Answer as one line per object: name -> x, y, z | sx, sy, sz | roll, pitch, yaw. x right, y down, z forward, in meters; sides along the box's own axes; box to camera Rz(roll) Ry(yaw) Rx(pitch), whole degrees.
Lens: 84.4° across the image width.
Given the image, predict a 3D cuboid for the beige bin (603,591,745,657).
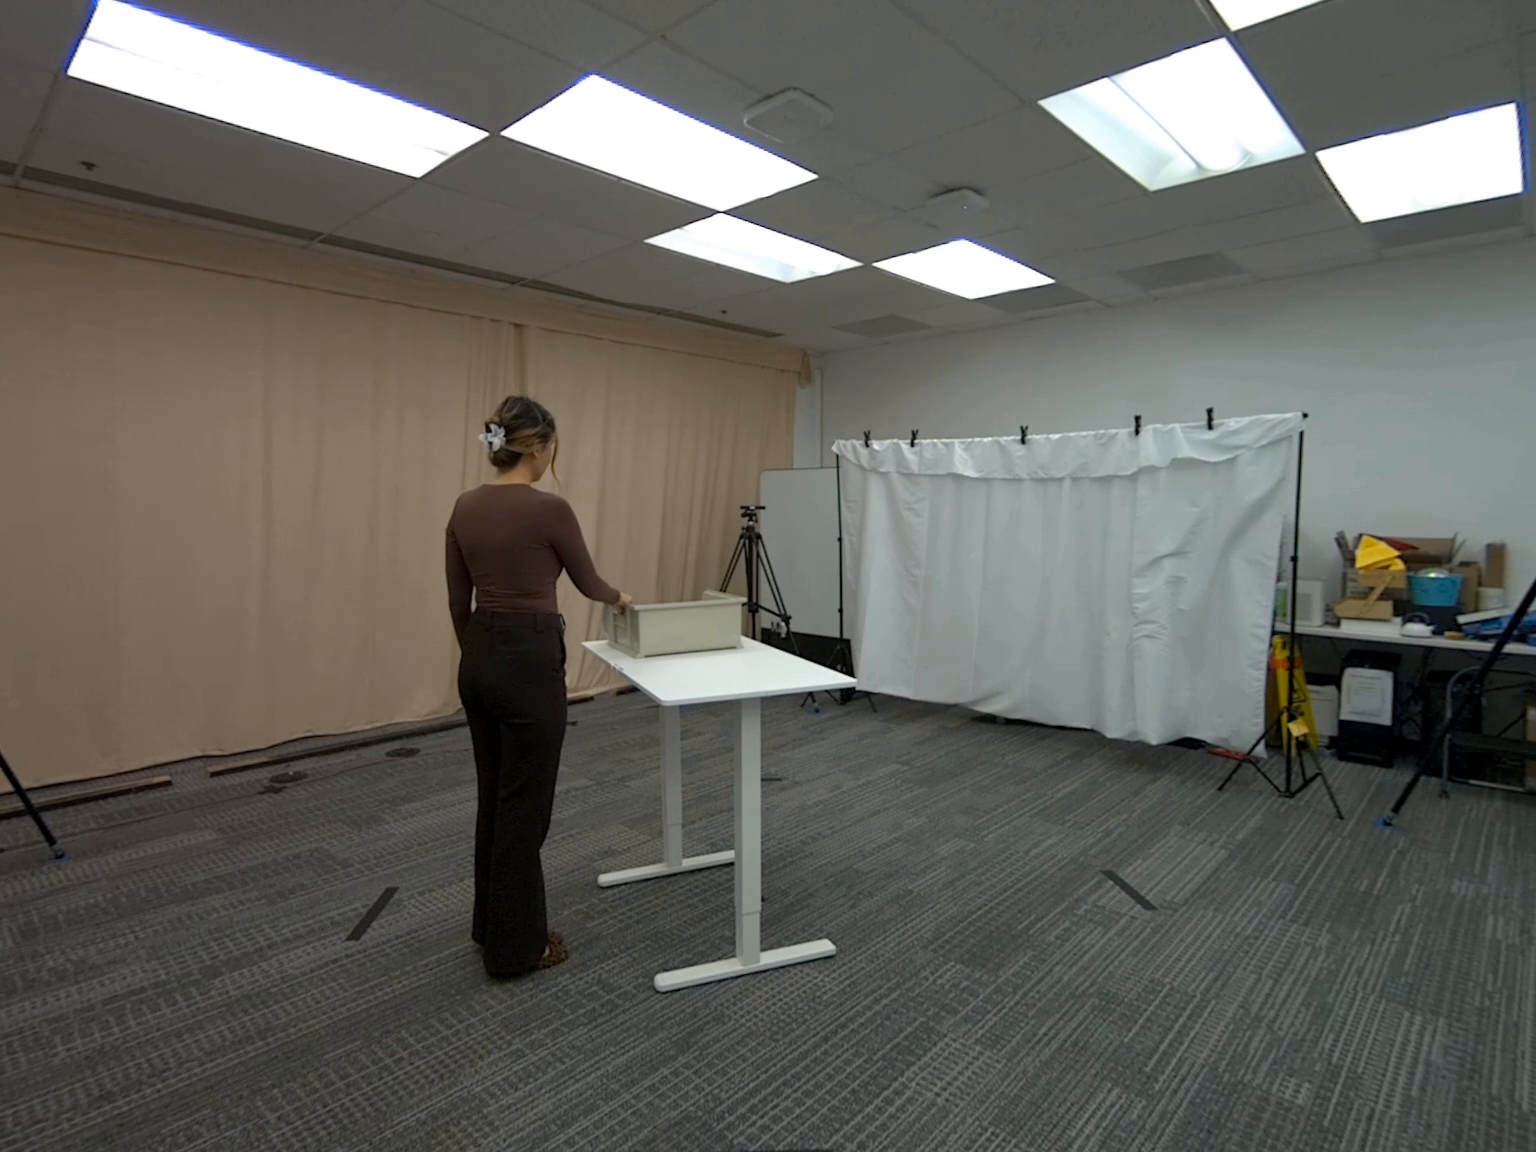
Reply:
beige bin -> -0.349, 0.166, 3.060 | 0.412, 0.188, 0.388 | -3, 6, -27
